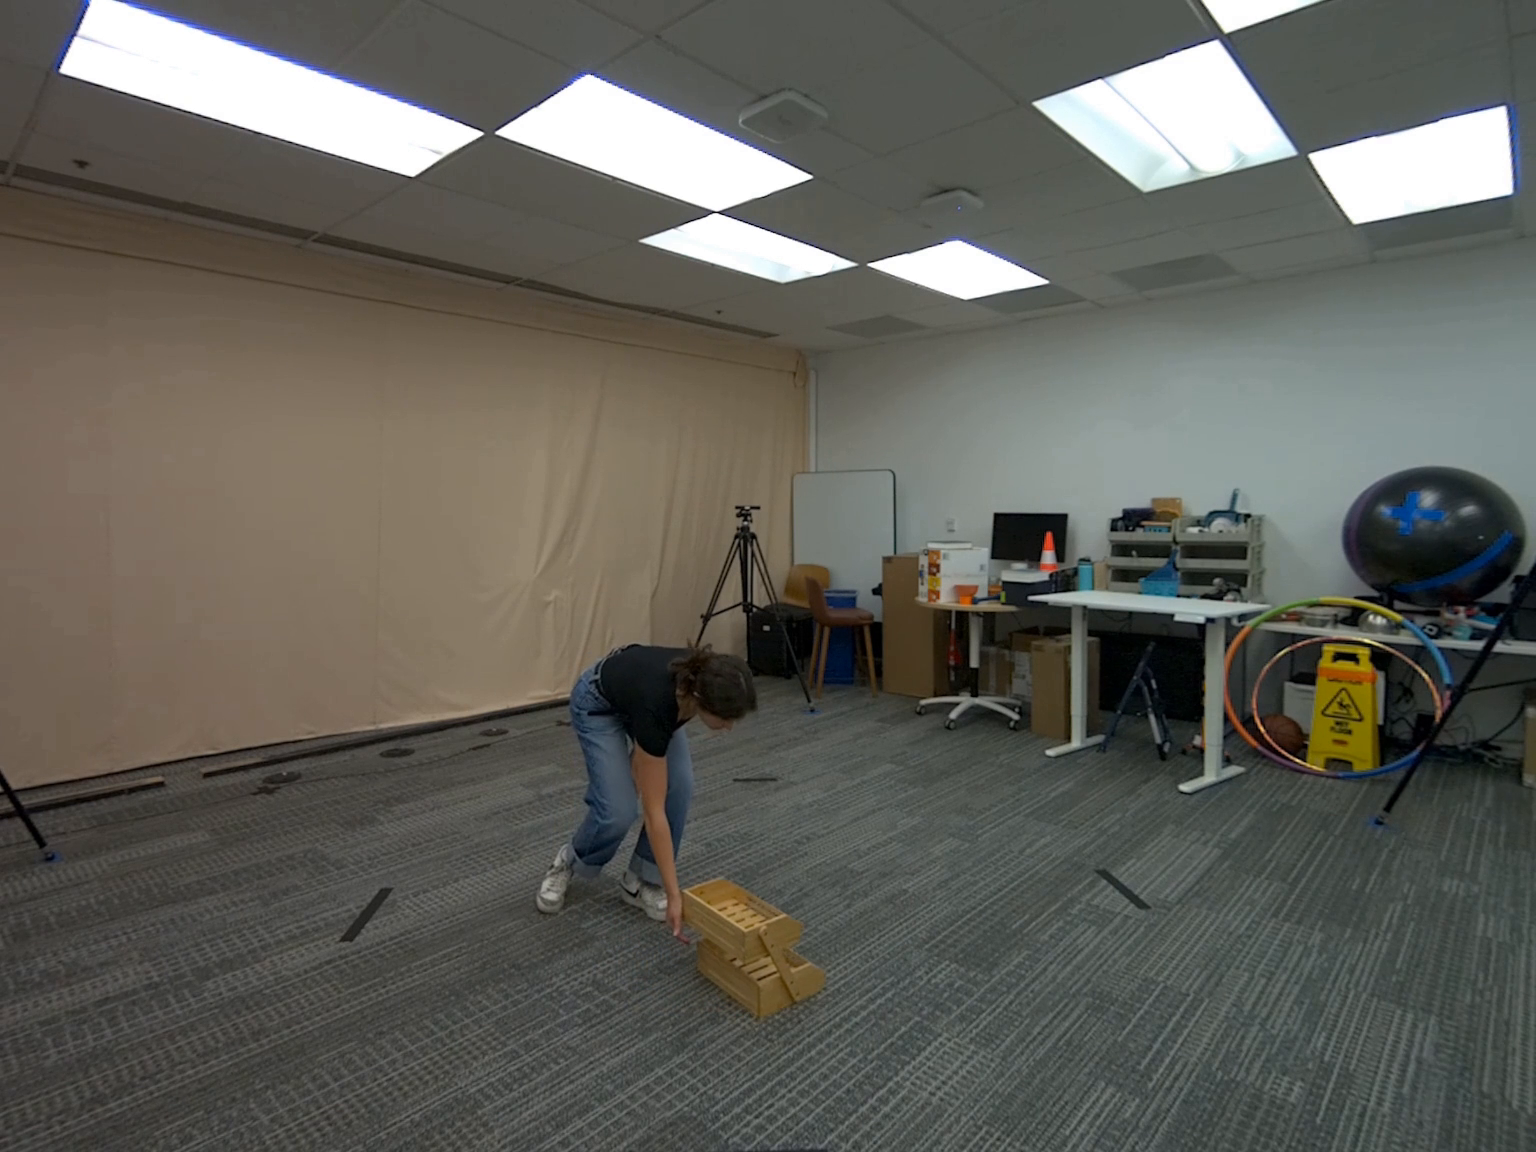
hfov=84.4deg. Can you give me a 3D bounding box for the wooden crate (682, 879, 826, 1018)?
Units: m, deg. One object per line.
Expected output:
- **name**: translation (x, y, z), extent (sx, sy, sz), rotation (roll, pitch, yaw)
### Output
- **wooden crate**: translation (-0.037, 1.057, 2.451), extent (0.293, 0.273, 0.335), rotation (-3, 5, -38)
